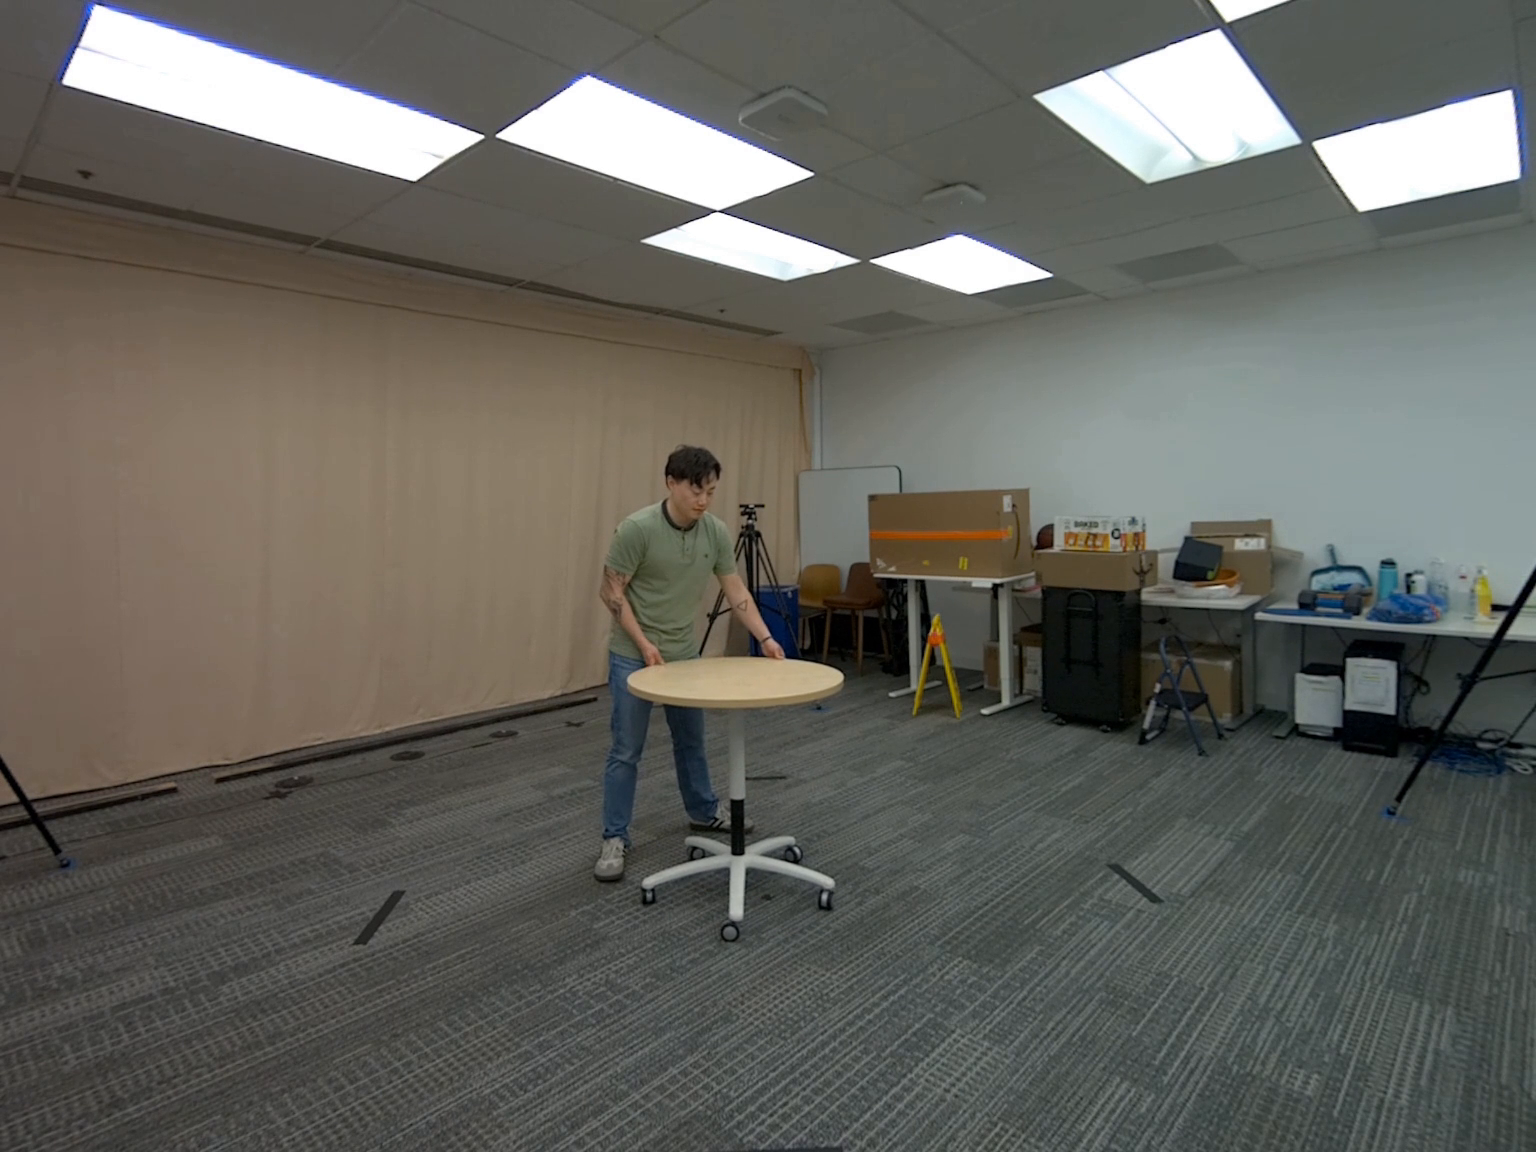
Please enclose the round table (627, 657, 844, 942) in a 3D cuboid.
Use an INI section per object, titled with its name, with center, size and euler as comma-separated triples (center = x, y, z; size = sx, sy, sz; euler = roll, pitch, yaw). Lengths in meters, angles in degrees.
[round table]
center = -0.103, 0.751, 3.017
size = 0.763, 0.792, 0.766
euler = -1, 3, -2
